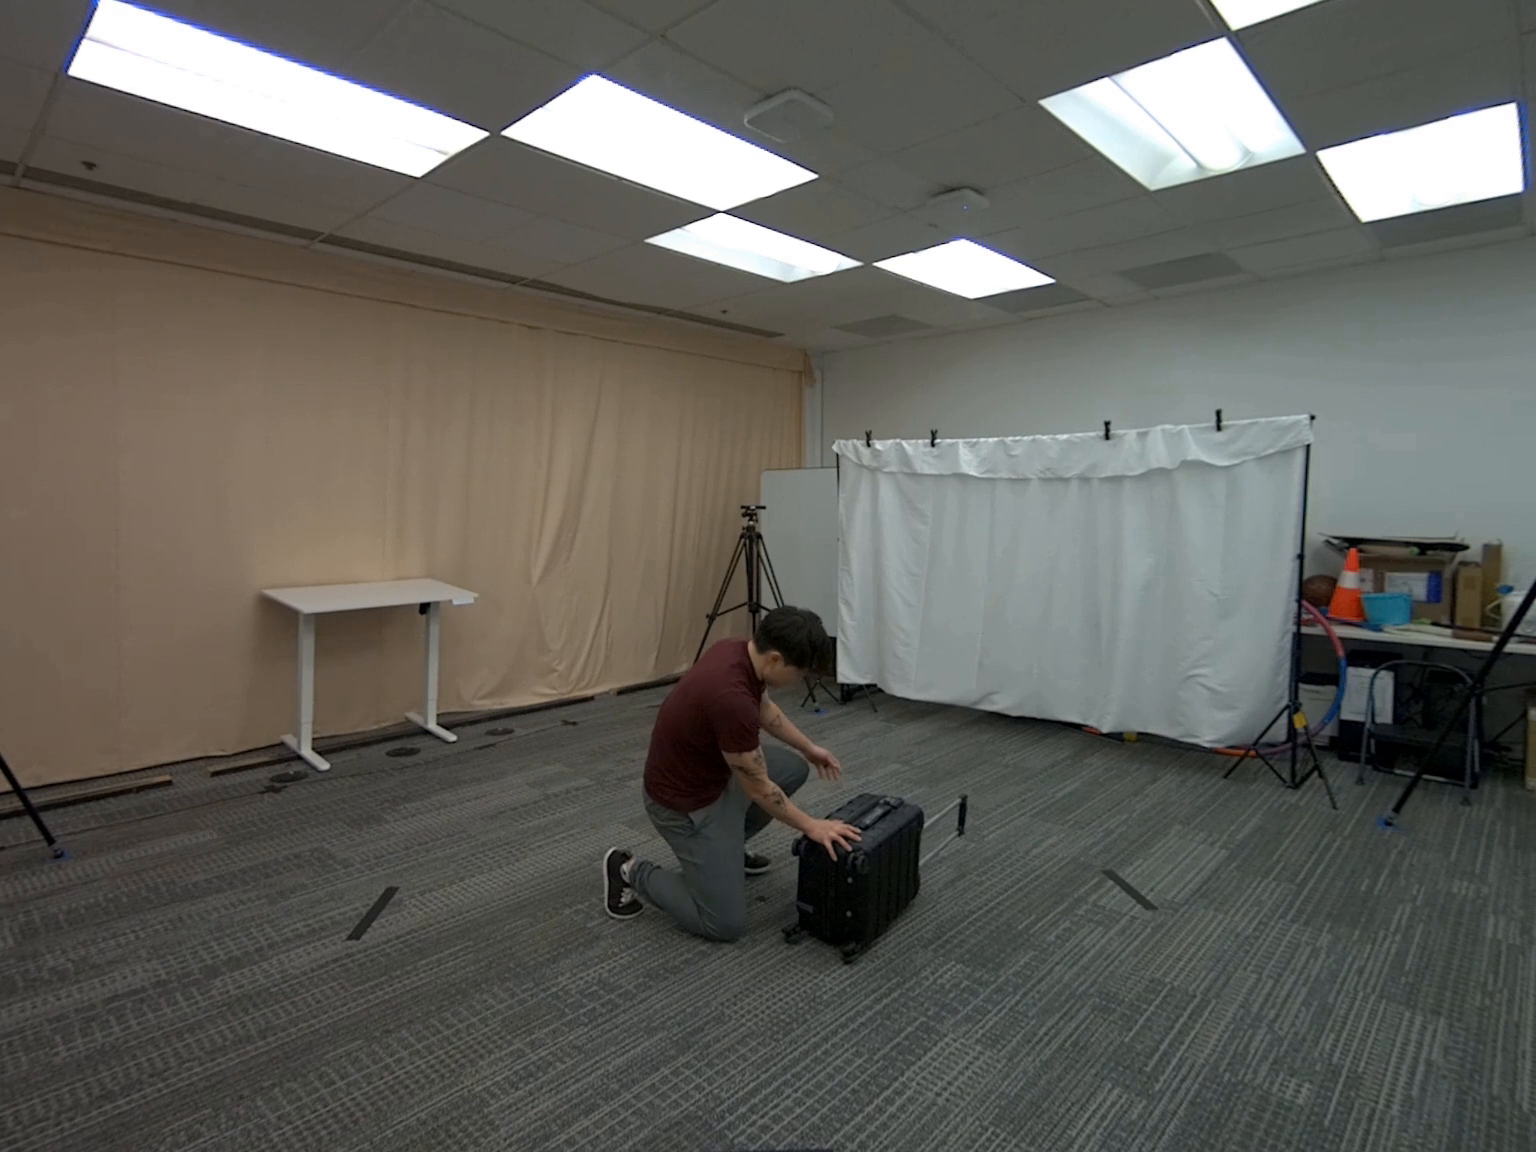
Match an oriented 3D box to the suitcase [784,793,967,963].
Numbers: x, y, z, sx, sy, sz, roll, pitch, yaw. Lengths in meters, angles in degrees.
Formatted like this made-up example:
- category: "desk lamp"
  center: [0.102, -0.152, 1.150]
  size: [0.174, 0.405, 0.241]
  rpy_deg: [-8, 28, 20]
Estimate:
- category: "suitcase"
  center: [0.430, 0.957, 2.976]
  size: [0.265, 0.383, 0.952]
  rpy_deg: [5, 7, 32]
